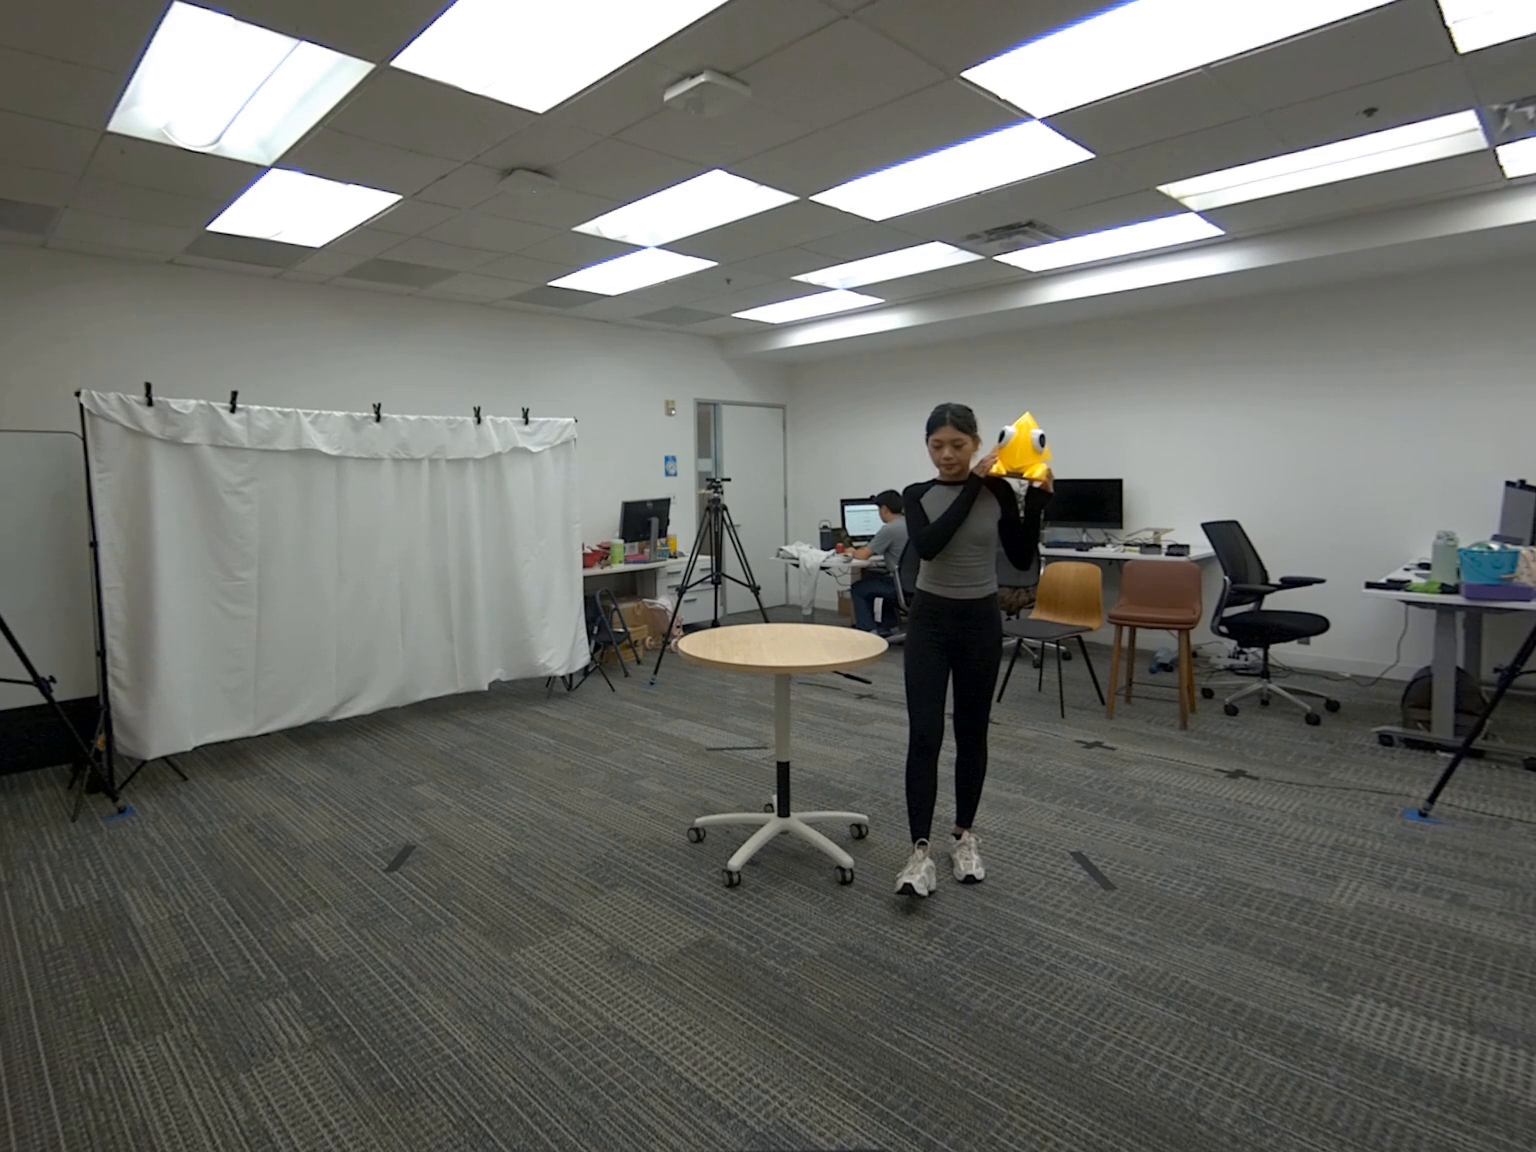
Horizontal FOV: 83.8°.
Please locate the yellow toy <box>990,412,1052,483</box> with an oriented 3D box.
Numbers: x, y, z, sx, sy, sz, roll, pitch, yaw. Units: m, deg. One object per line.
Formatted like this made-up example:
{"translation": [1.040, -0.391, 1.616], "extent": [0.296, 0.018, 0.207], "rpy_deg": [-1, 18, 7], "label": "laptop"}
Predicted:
{"translation": [0.837, -0.439, 2.837], "extent": [0.209, 0.230, 0.189], "rpy_deg": [11, 4, 20], "label": "yellow toy"}
